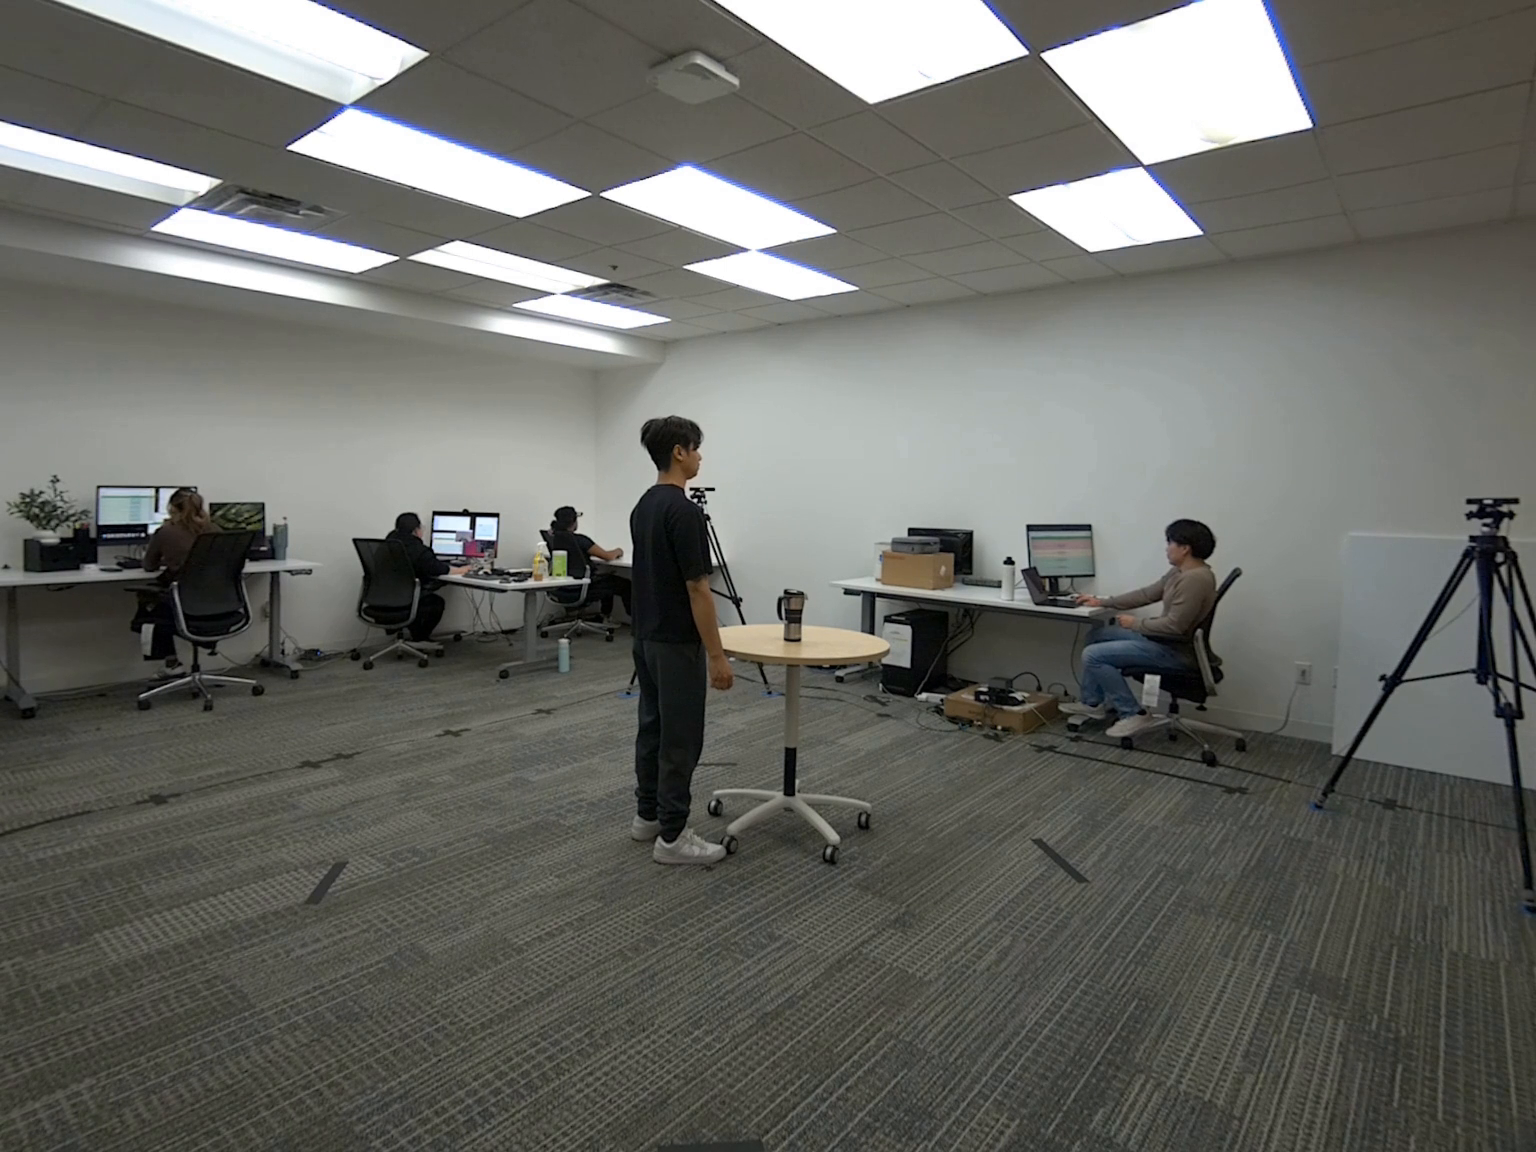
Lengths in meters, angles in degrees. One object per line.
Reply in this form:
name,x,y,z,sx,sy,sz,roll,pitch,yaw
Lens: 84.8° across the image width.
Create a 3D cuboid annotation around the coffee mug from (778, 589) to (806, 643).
coffee mug,0.076,0.158,3.433,0.126,0.201,0.086,9,13,34
